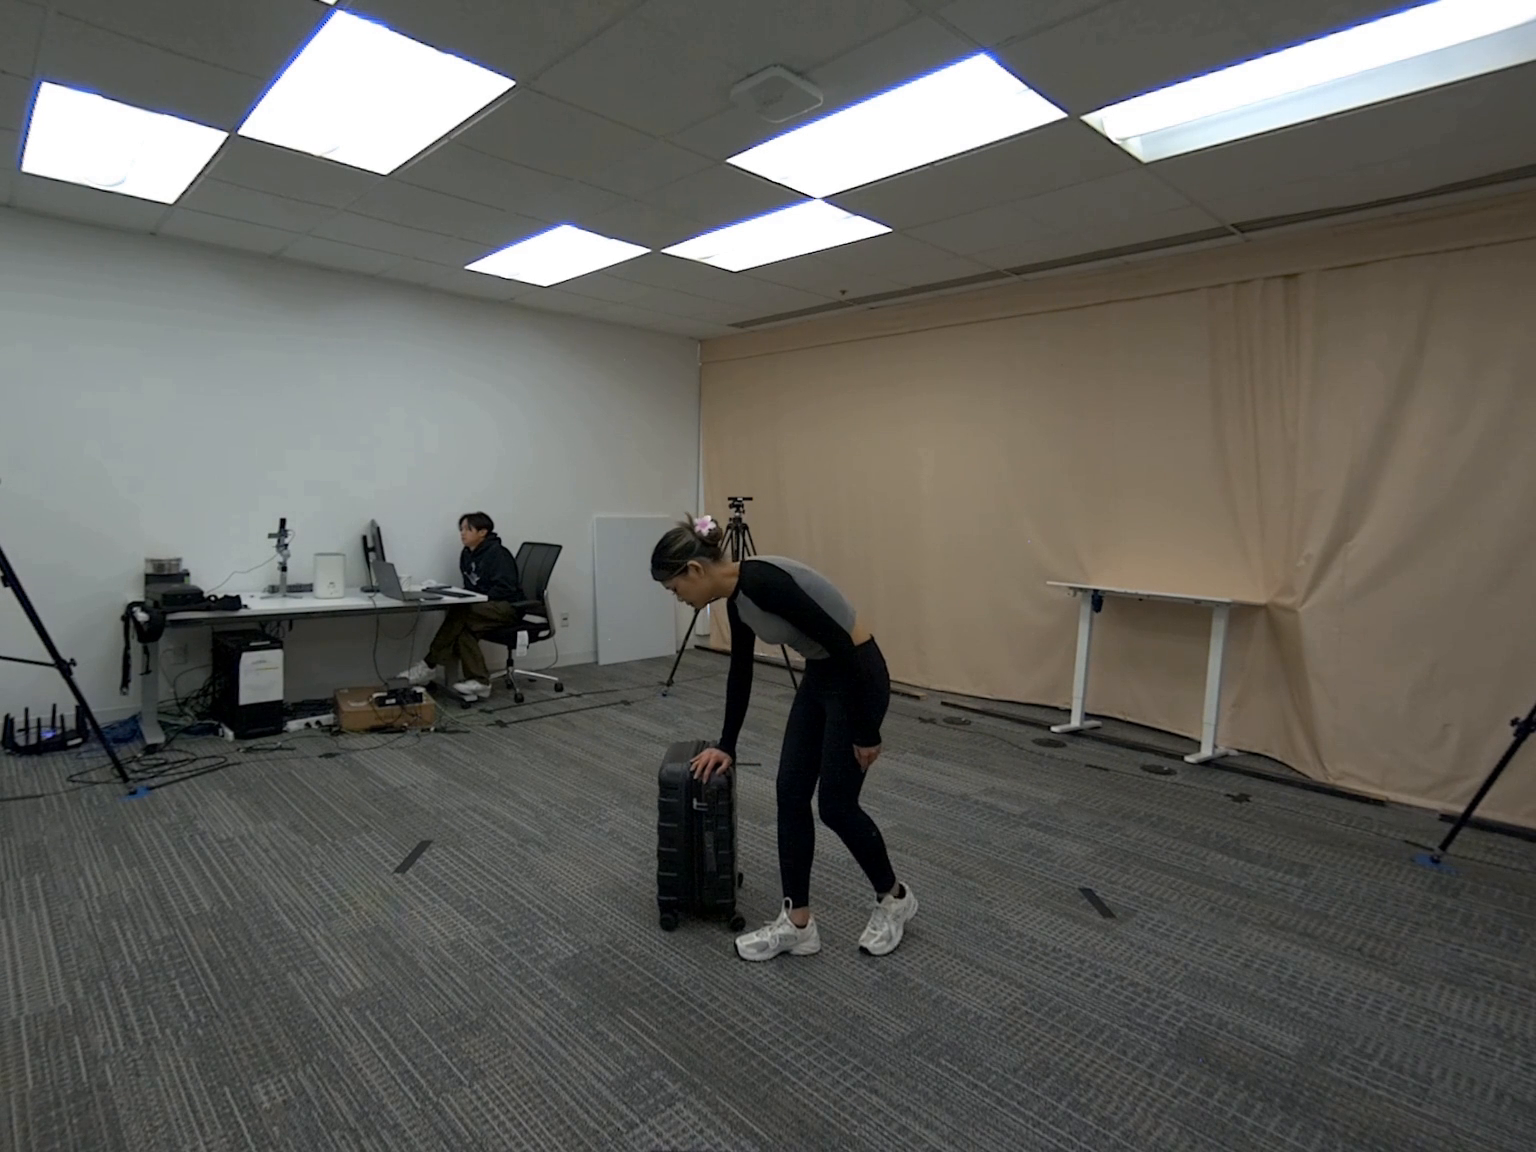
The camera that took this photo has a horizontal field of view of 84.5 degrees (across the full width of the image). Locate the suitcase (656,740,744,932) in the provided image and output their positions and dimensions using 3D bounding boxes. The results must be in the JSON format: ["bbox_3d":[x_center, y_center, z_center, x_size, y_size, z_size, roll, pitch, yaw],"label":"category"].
[{"bbox_3d":[-0.242,0.855,2.849,0.248,0.548,0.376,-1,4,0],"label":"suitcase"}]
